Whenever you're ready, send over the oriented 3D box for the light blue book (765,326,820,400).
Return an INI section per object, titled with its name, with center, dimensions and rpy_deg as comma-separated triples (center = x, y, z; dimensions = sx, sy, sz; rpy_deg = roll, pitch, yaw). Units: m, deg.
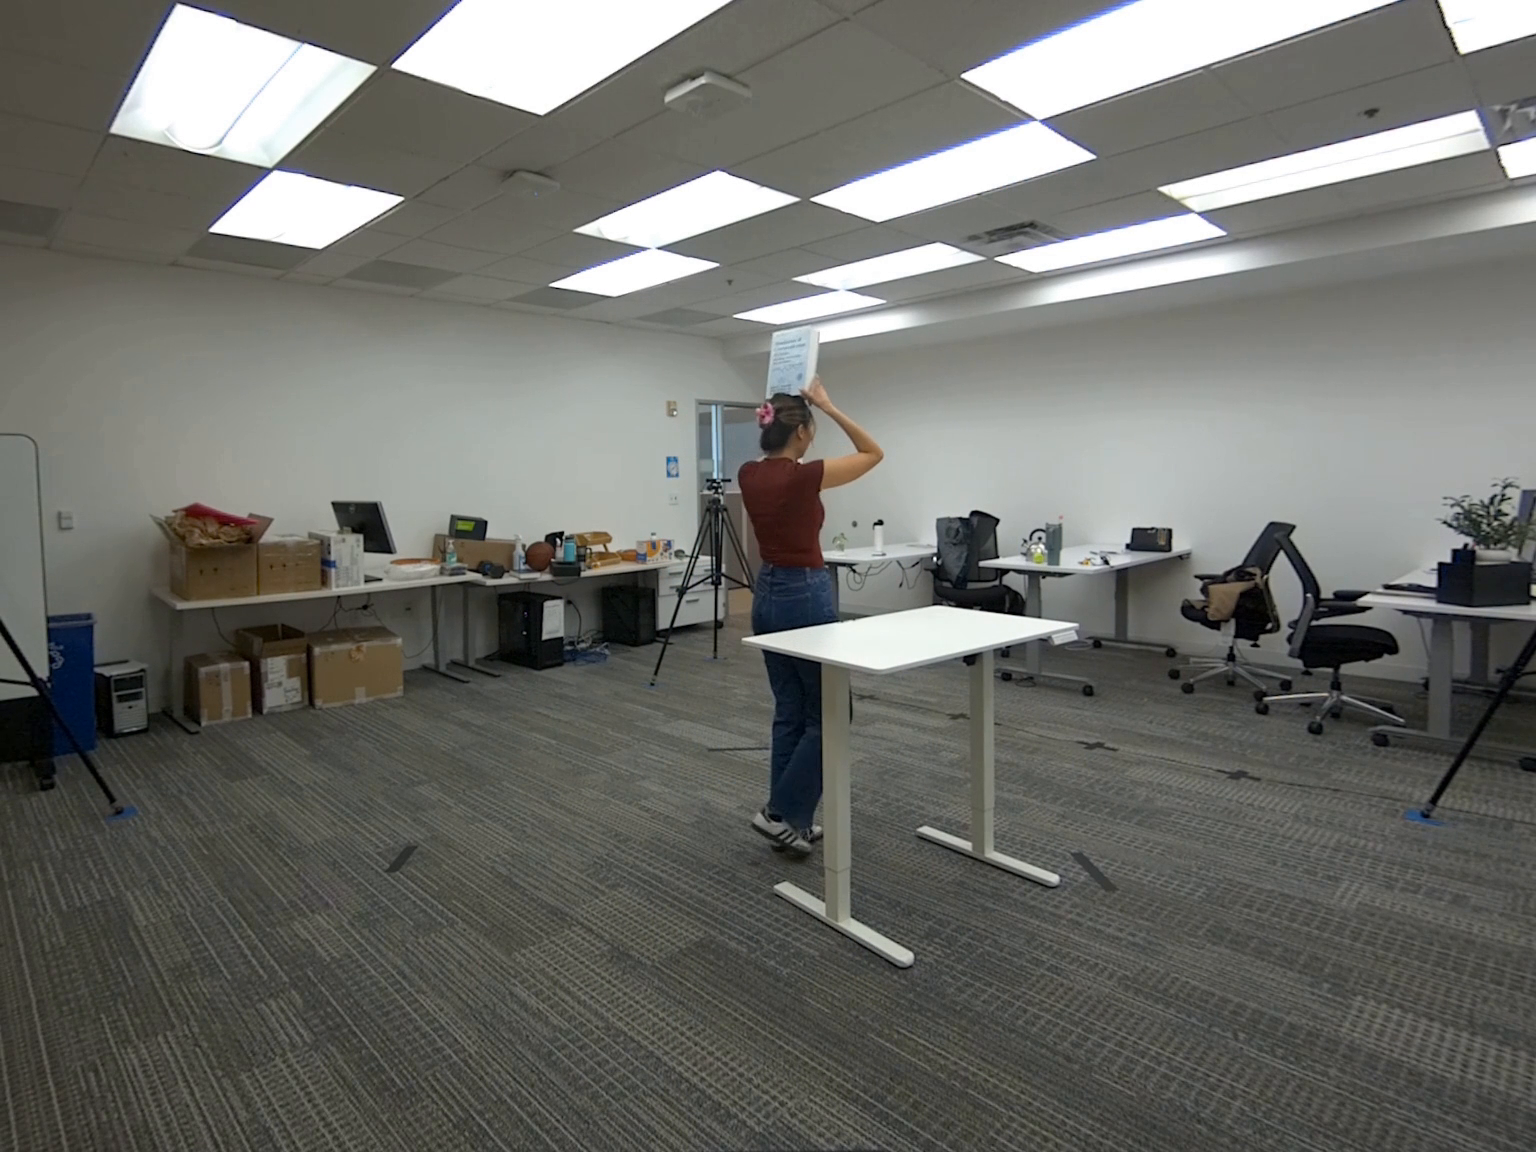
[light blue book]
center = 0.092, -0.789, 3.197
dimensions = 0.197, 0.262, 0.057
rpy_deg = 2, -7, 41
